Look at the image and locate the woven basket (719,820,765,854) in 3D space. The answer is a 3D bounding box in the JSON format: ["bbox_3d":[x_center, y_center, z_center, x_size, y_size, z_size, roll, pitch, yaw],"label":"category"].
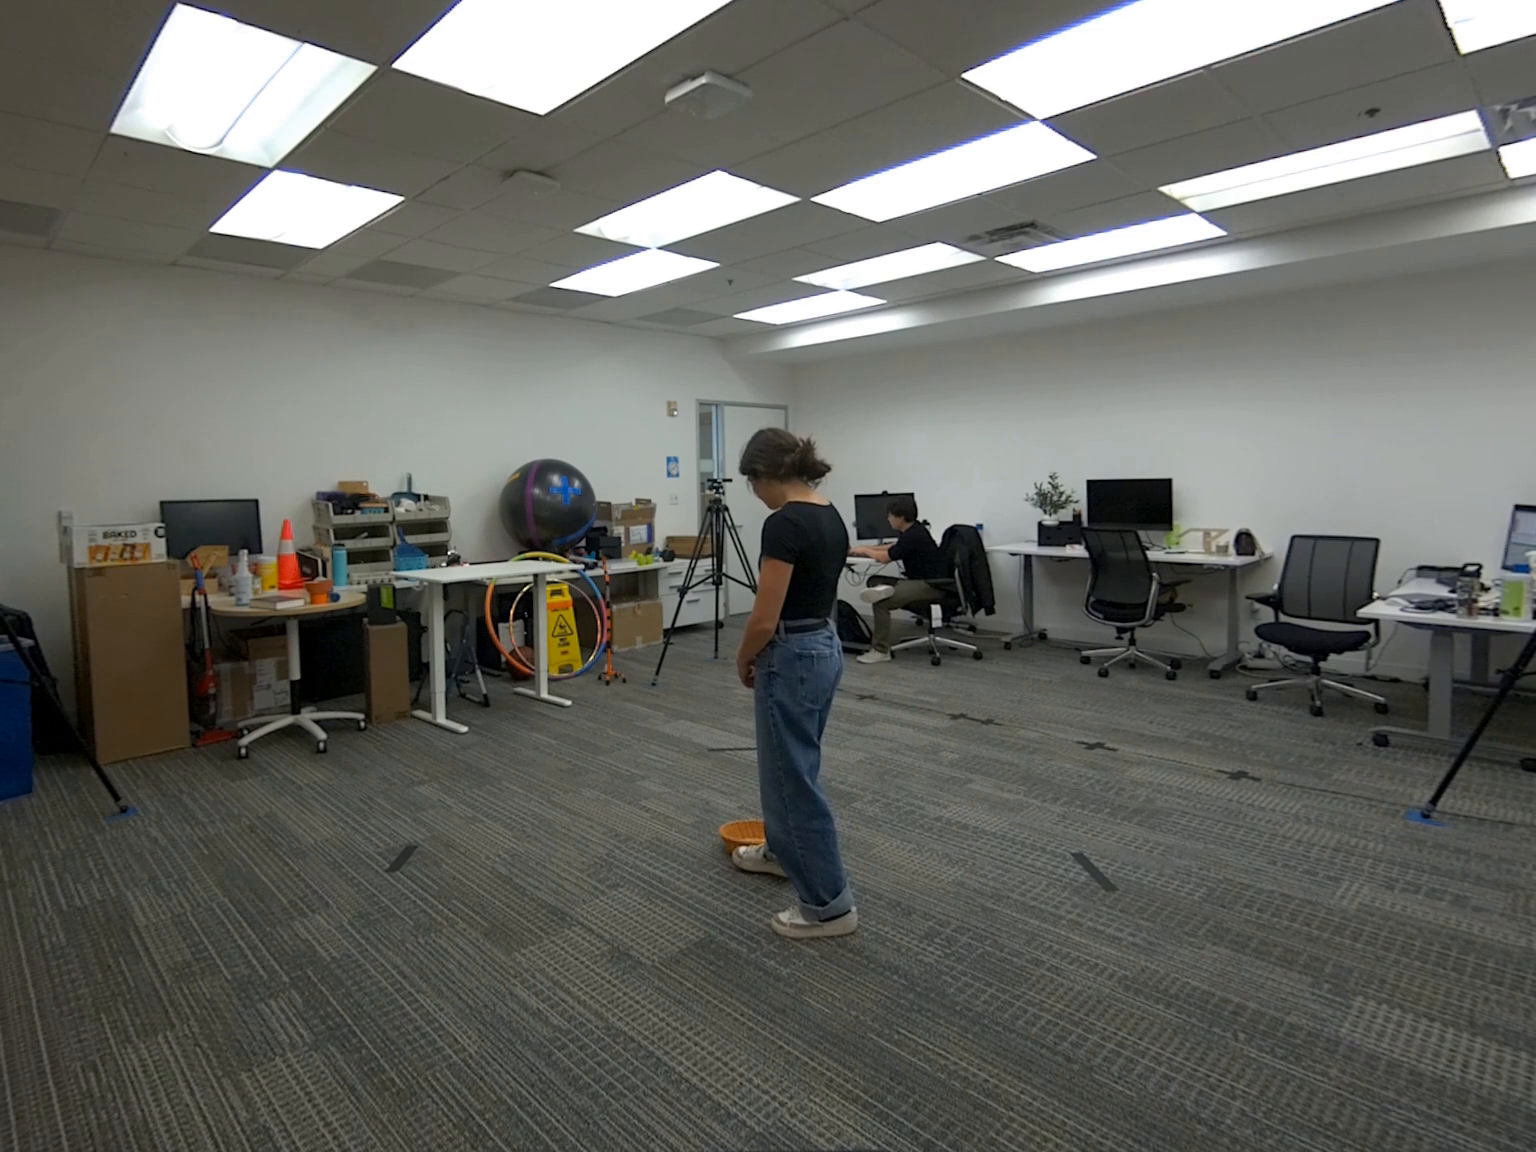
[{"bbox_3d":[-0.011,0.987,3.194,0.356,0.073,0.248,1,1,16],"label":"woven basket"}]
